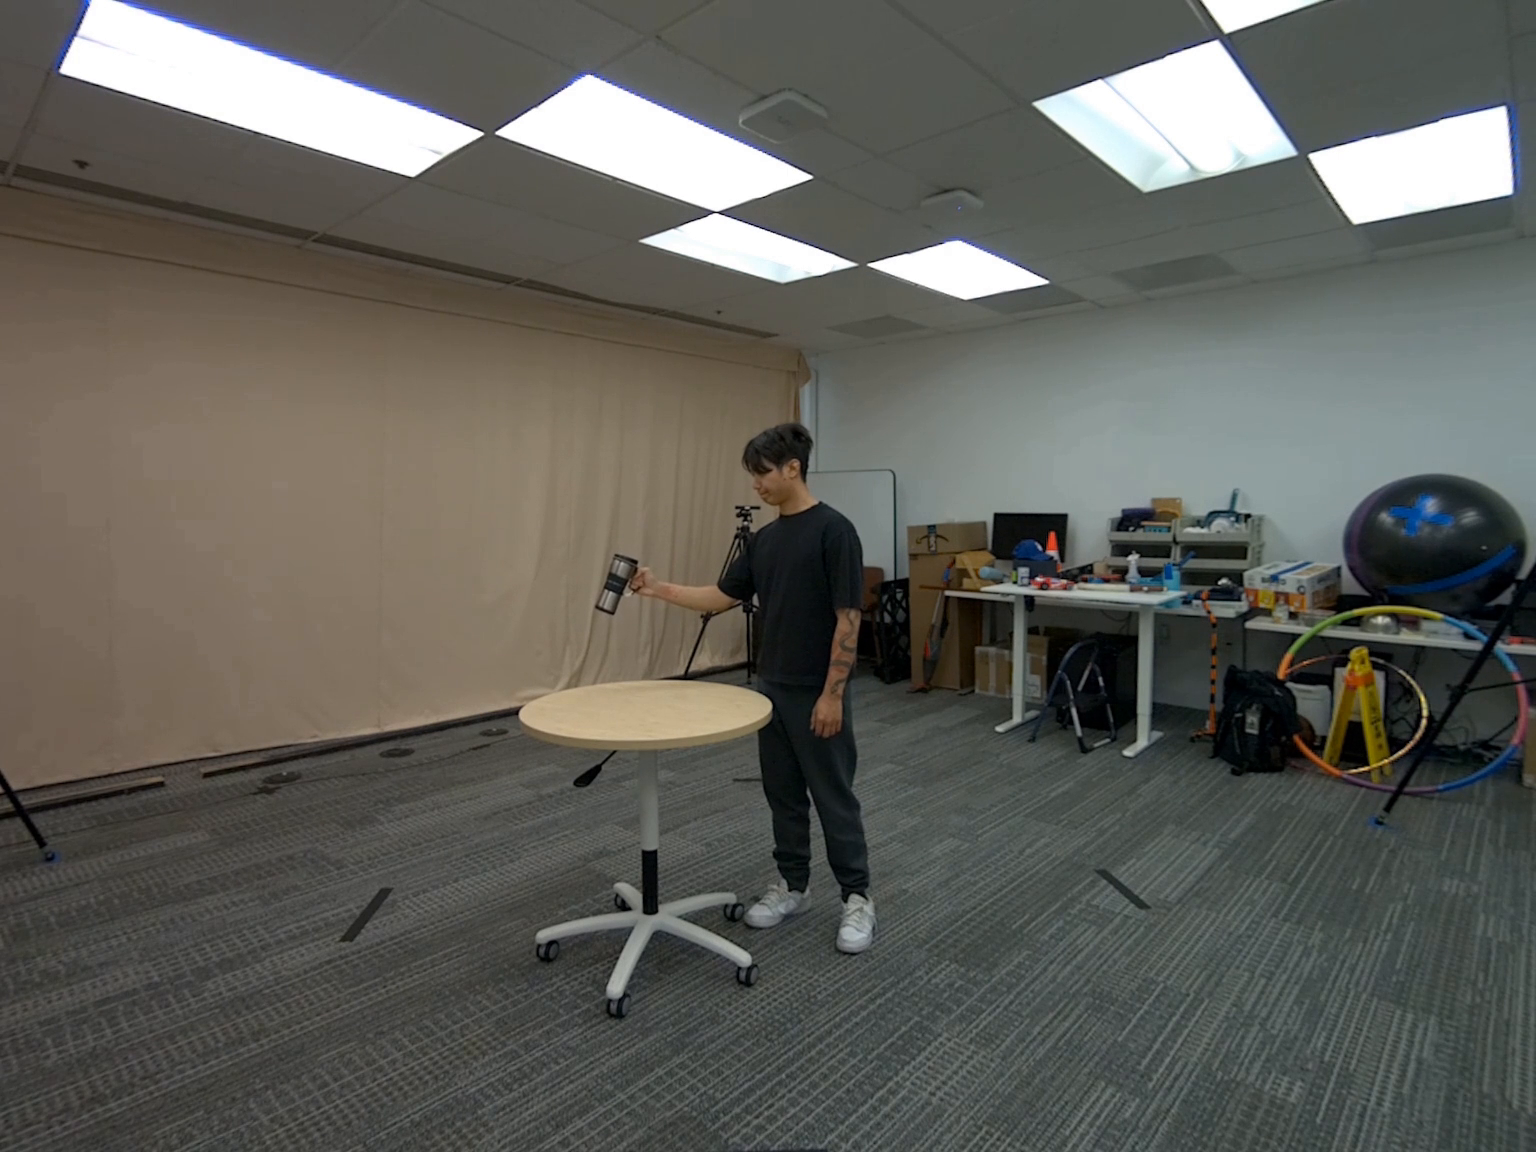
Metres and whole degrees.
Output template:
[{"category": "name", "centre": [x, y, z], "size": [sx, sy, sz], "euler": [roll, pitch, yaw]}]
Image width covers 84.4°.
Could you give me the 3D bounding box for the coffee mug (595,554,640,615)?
[{"category": "coffee mug", "centre": [-0.500, 0.036, 2.887], "size": [0.122, 0.203, 0.087], "euler": [18, -6, 3]}]
